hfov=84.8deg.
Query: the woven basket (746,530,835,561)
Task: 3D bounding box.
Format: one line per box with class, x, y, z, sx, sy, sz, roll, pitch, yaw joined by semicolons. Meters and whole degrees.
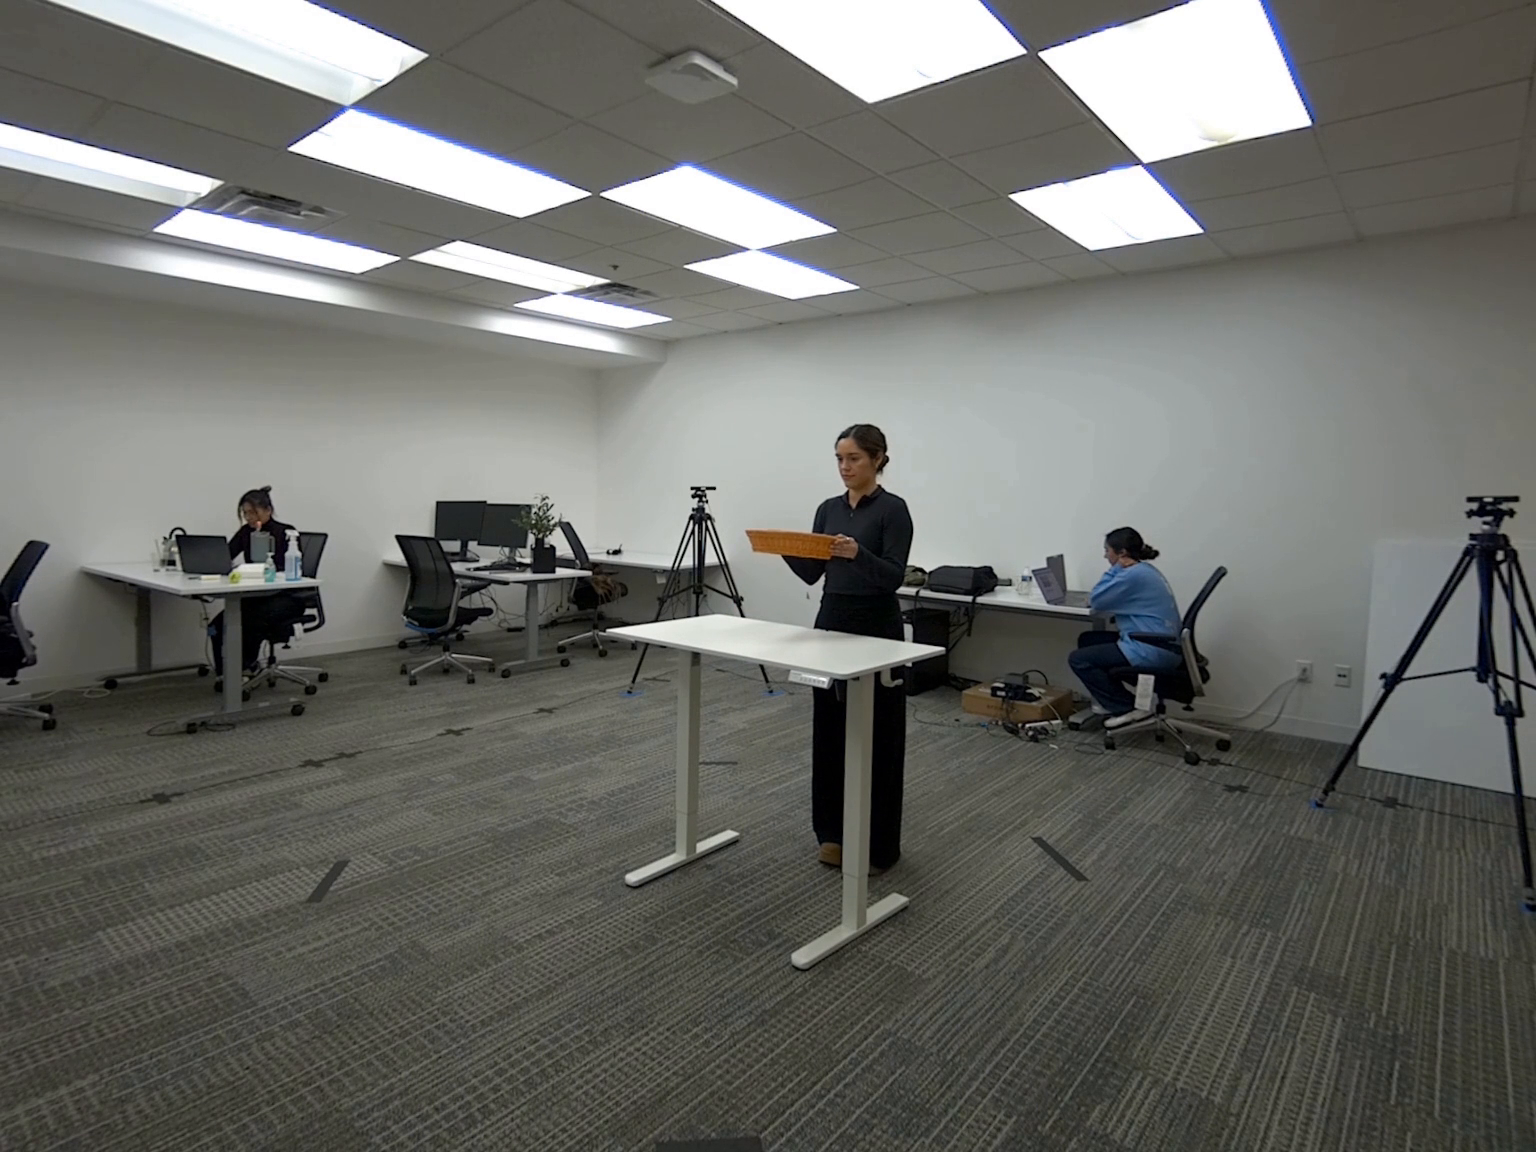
woven basket;0.097;-0.108;2.927;0.244;0.073;0.362;6;0;-45
